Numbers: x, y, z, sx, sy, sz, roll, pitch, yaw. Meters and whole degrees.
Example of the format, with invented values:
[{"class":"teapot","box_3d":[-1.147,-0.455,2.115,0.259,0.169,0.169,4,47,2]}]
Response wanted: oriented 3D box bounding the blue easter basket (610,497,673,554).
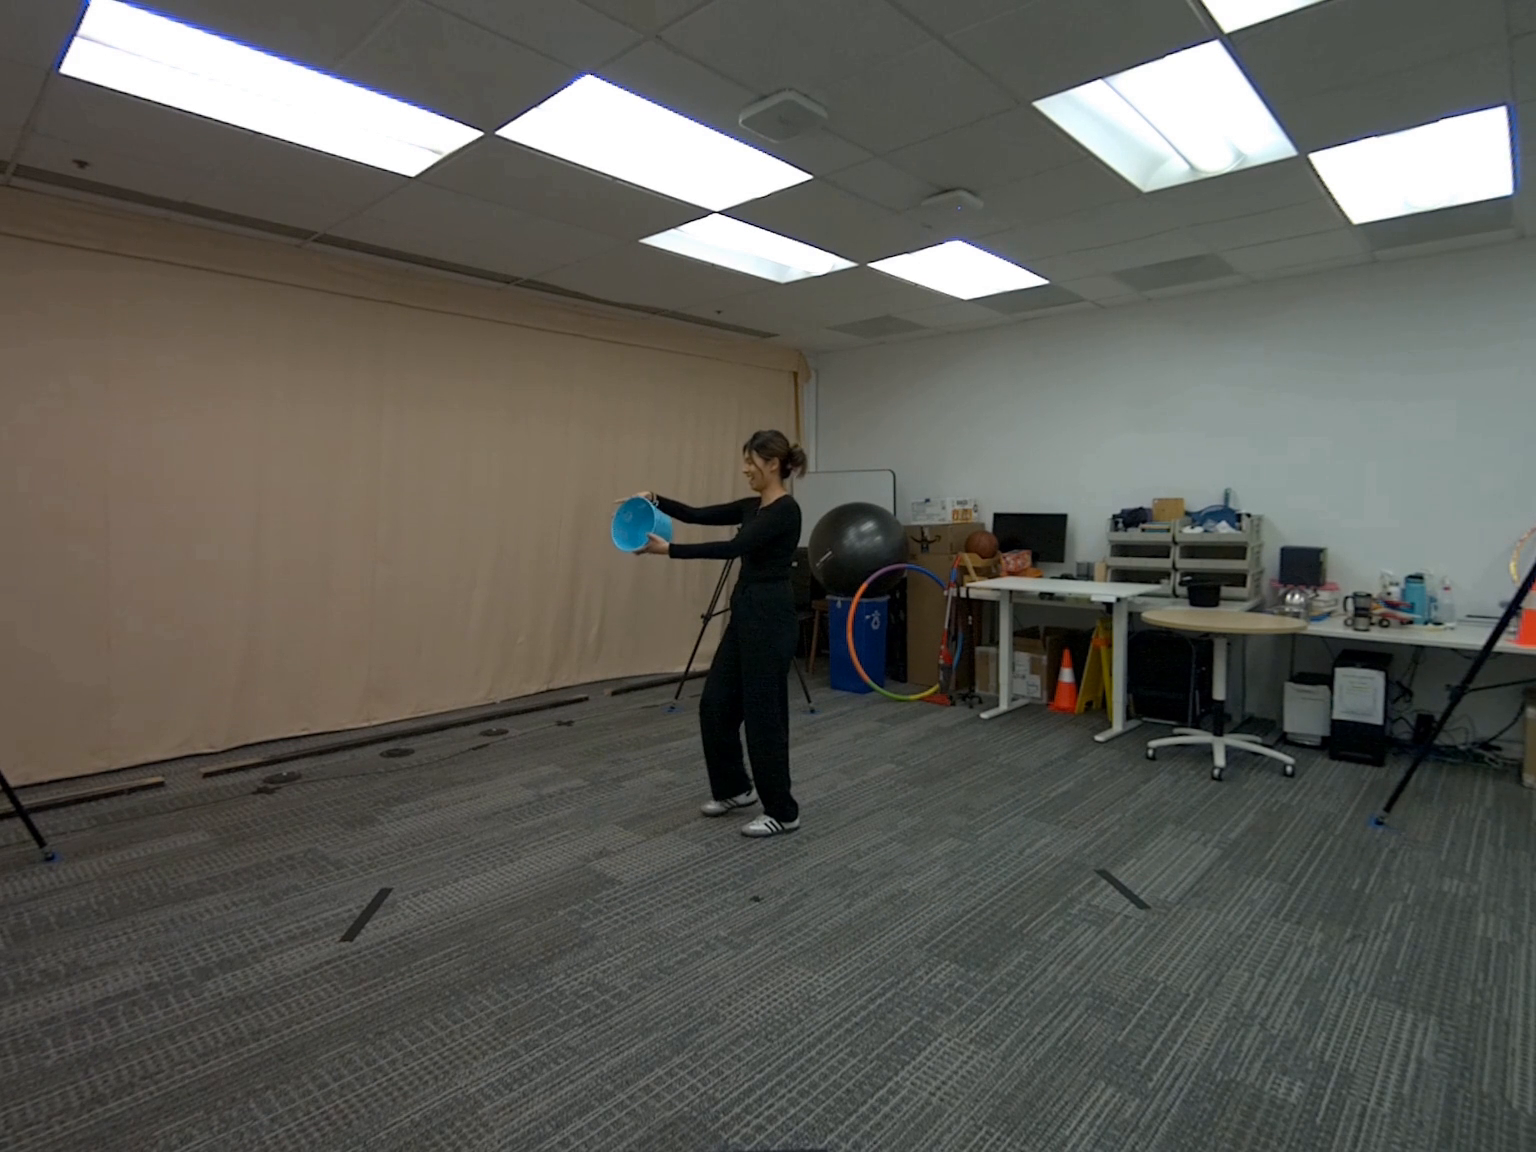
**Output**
[{"class":"blue easter basket","box_3d":[-0.512,-0.204,3.496,0.251,0.245,0.150,3,-16,34]}]
